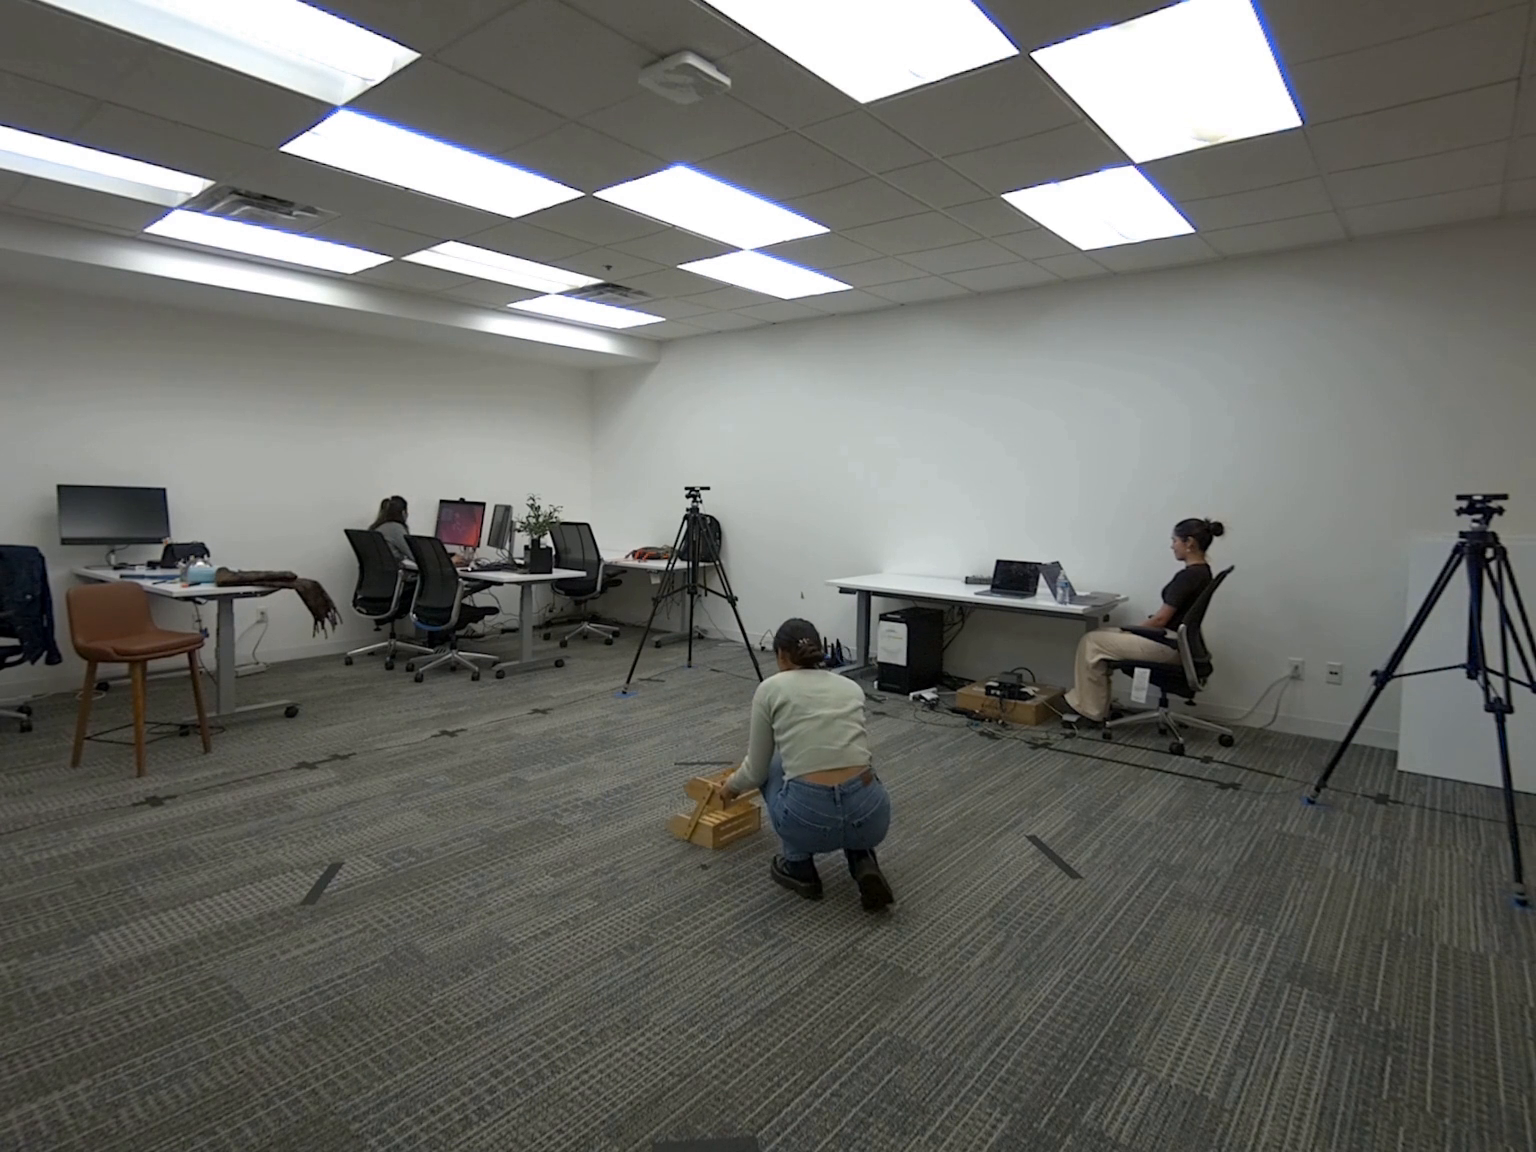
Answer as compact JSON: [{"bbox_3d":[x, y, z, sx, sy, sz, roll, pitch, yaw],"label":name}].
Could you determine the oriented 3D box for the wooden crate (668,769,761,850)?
[{"bbox_3d":[-0.211,0.899,3.434,0.312,0.272,0.315,5,6,39],"label":"wooden crate"}]
